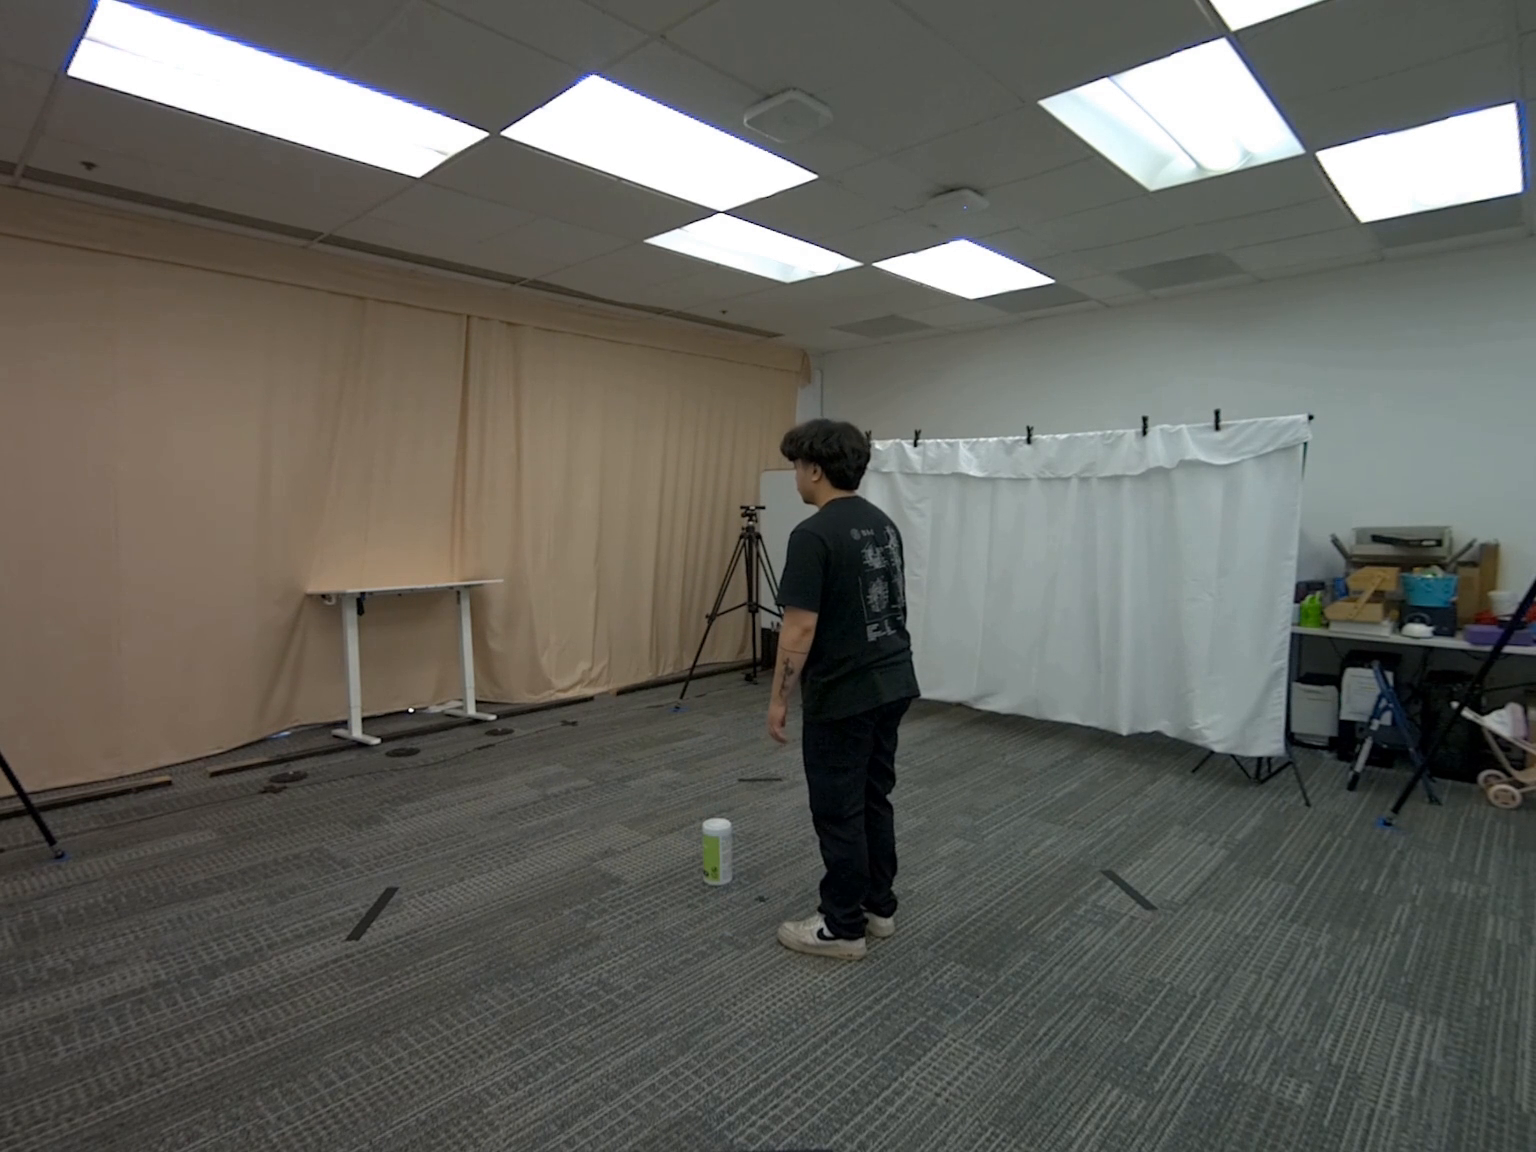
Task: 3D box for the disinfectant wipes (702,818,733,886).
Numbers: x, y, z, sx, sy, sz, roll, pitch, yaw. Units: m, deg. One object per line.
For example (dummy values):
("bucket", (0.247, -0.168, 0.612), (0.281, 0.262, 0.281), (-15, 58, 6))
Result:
("disinfectant wipes", (-0.189, 1.030, 3.128), (0.118, 0.217, 0.118), (-2, 3, -2))
